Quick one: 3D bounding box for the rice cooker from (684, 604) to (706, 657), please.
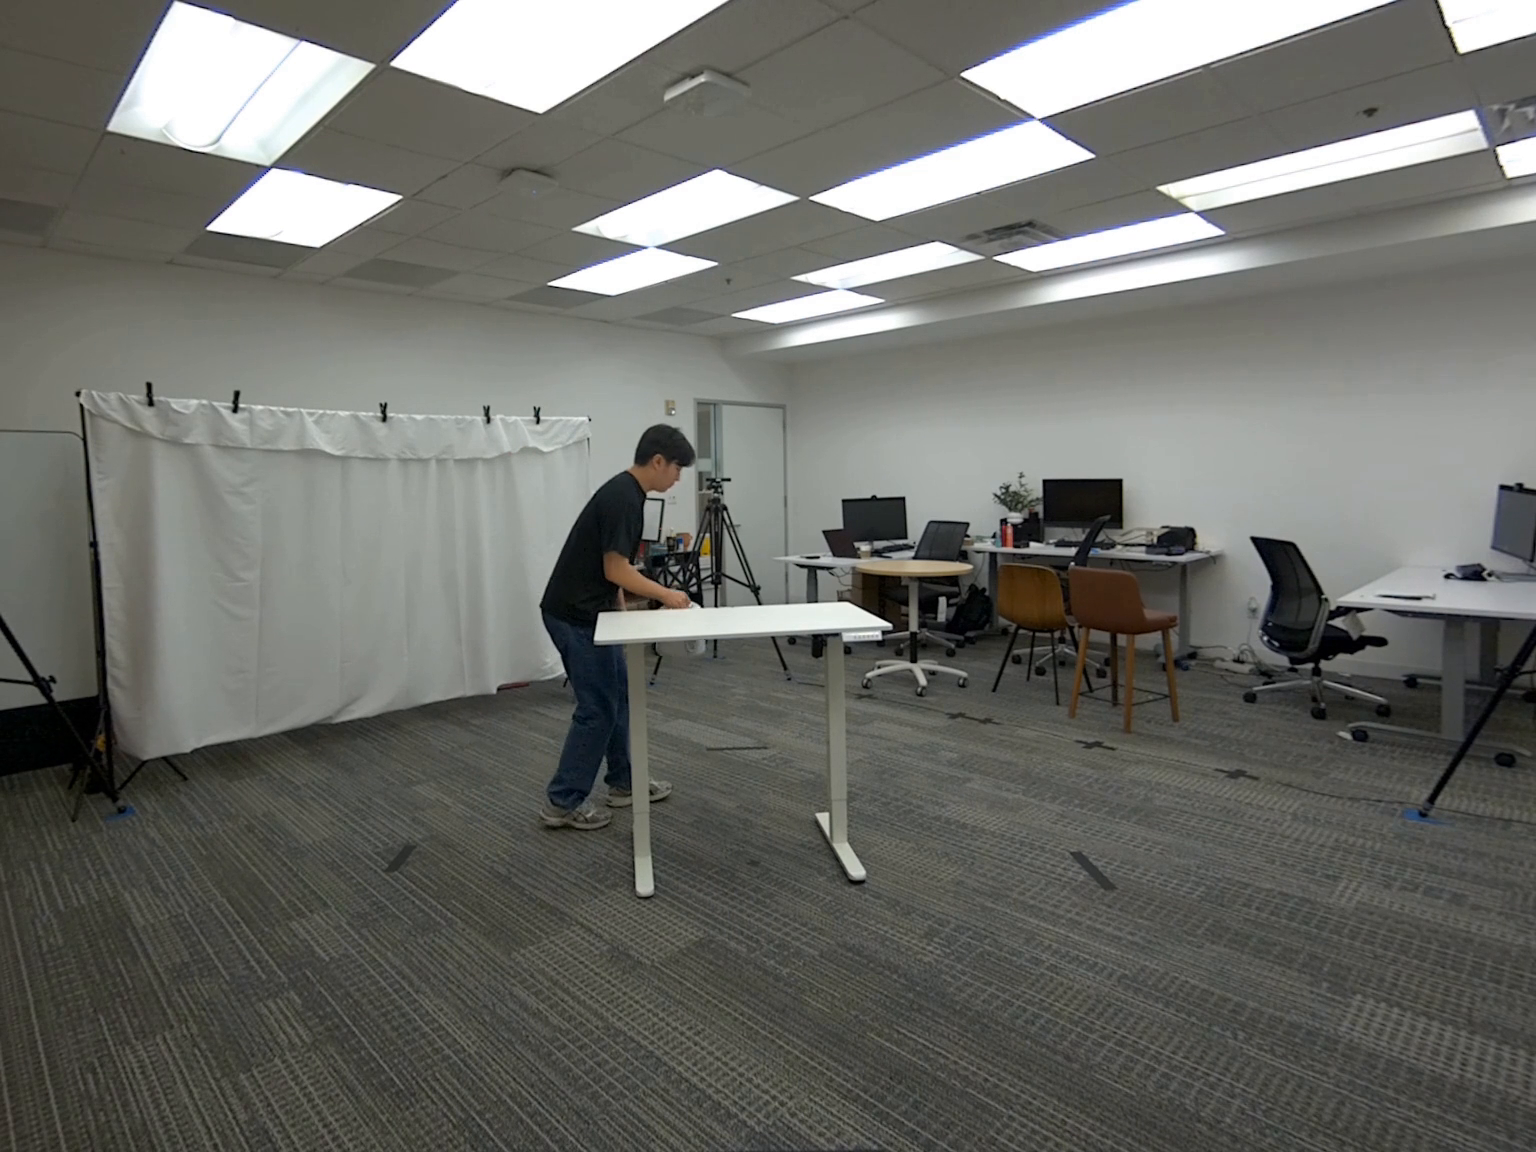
[{"bbox_3d":[-0.361,0.223,3.565,0.215,0.232,0.223,-3,7,-28],"label":"rice cooker"}]
